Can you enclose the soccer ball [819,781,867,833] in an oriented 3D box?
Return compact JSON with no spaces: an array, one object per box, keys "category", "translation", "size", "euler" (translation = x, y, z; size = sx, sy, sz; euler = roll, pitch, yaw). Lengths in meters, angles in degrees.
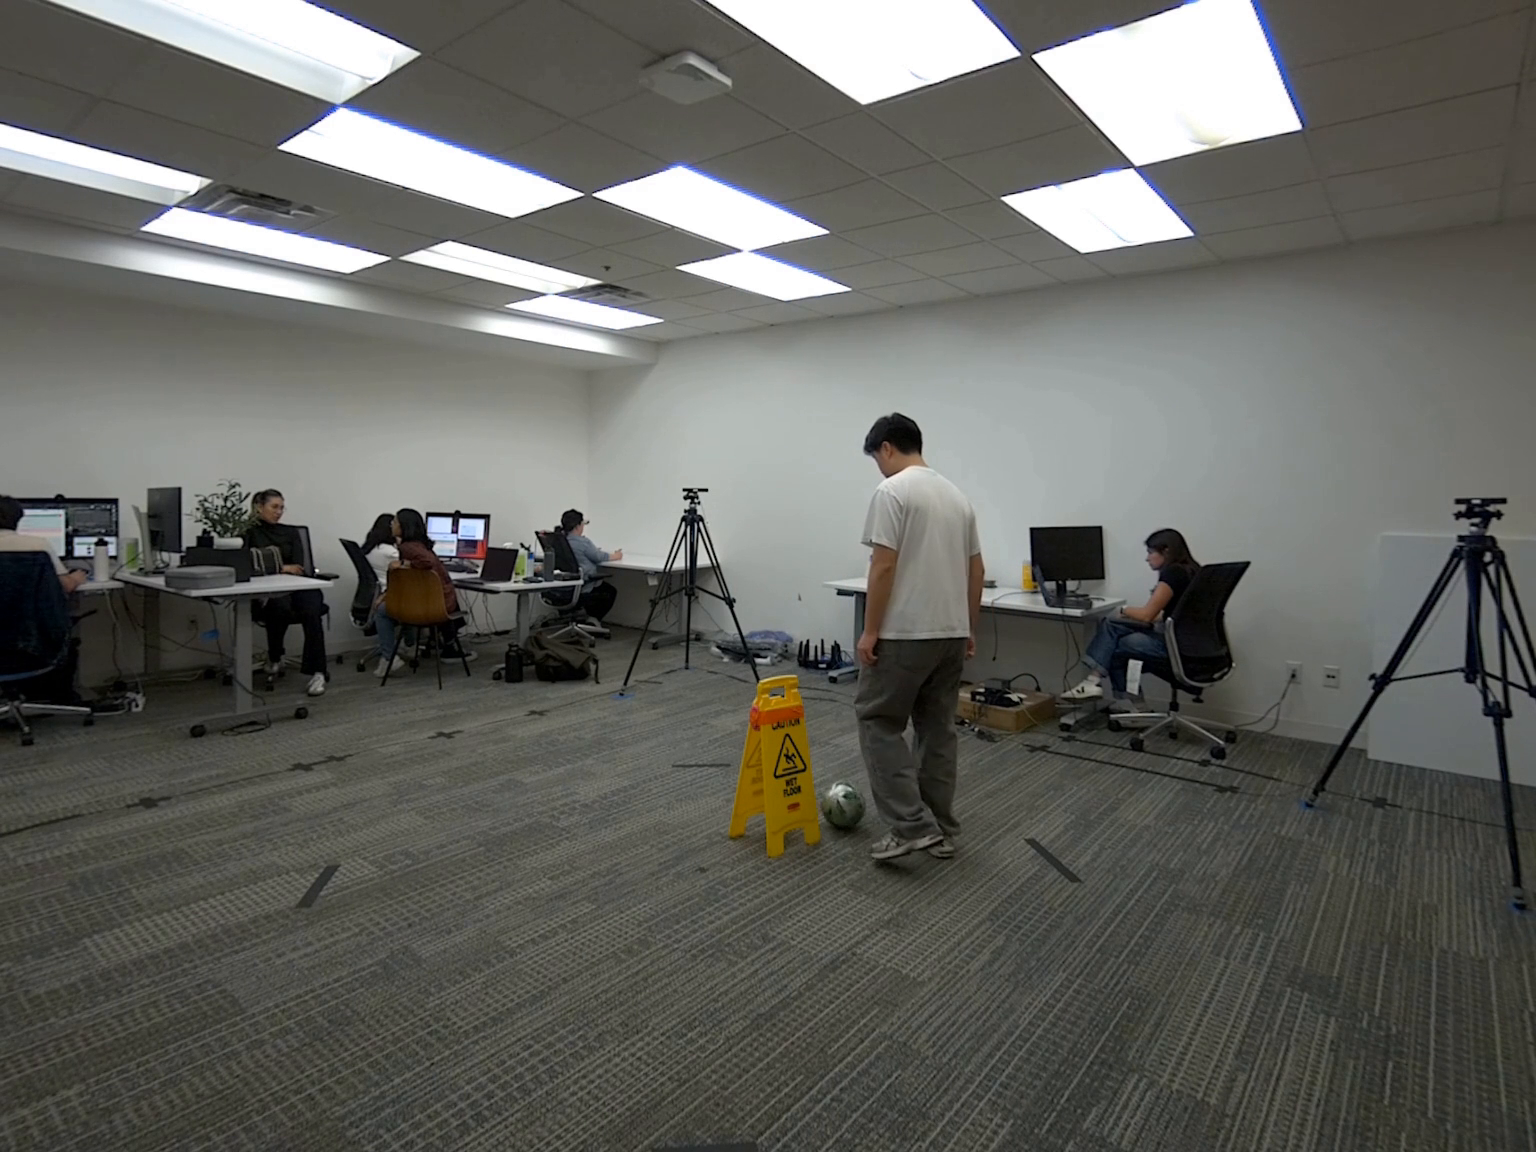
[{"category":"soccer ball","translation":[0.316,0.946,3.524],"size":[0.187,0.187,0.188],"euler":[1,4,-2]}]
